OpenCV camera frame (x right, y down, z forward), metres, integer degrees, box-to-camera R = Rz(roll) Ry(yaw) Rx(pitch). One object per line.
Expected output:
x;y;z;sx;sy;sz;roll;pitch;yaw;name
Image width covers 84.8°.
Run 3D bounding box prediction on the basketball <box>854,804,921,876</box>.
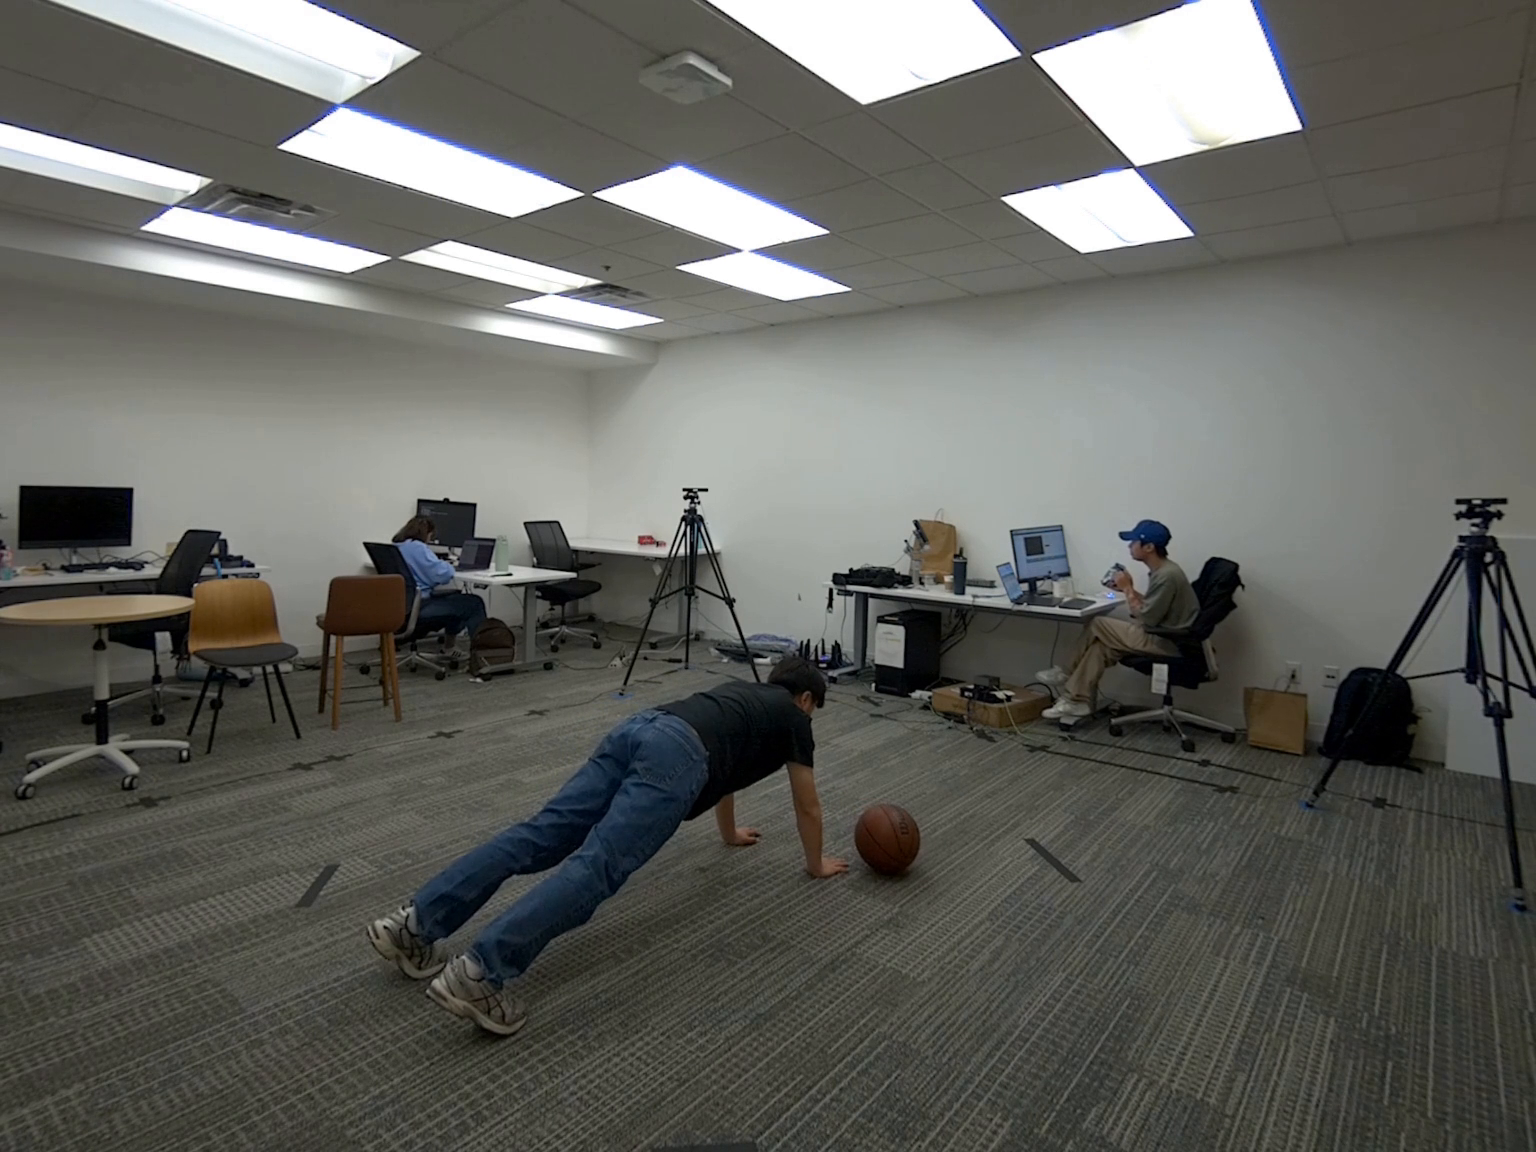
0.434;0.961;3.132;0.235;0.235;0.237;1;4;-2;basketball
